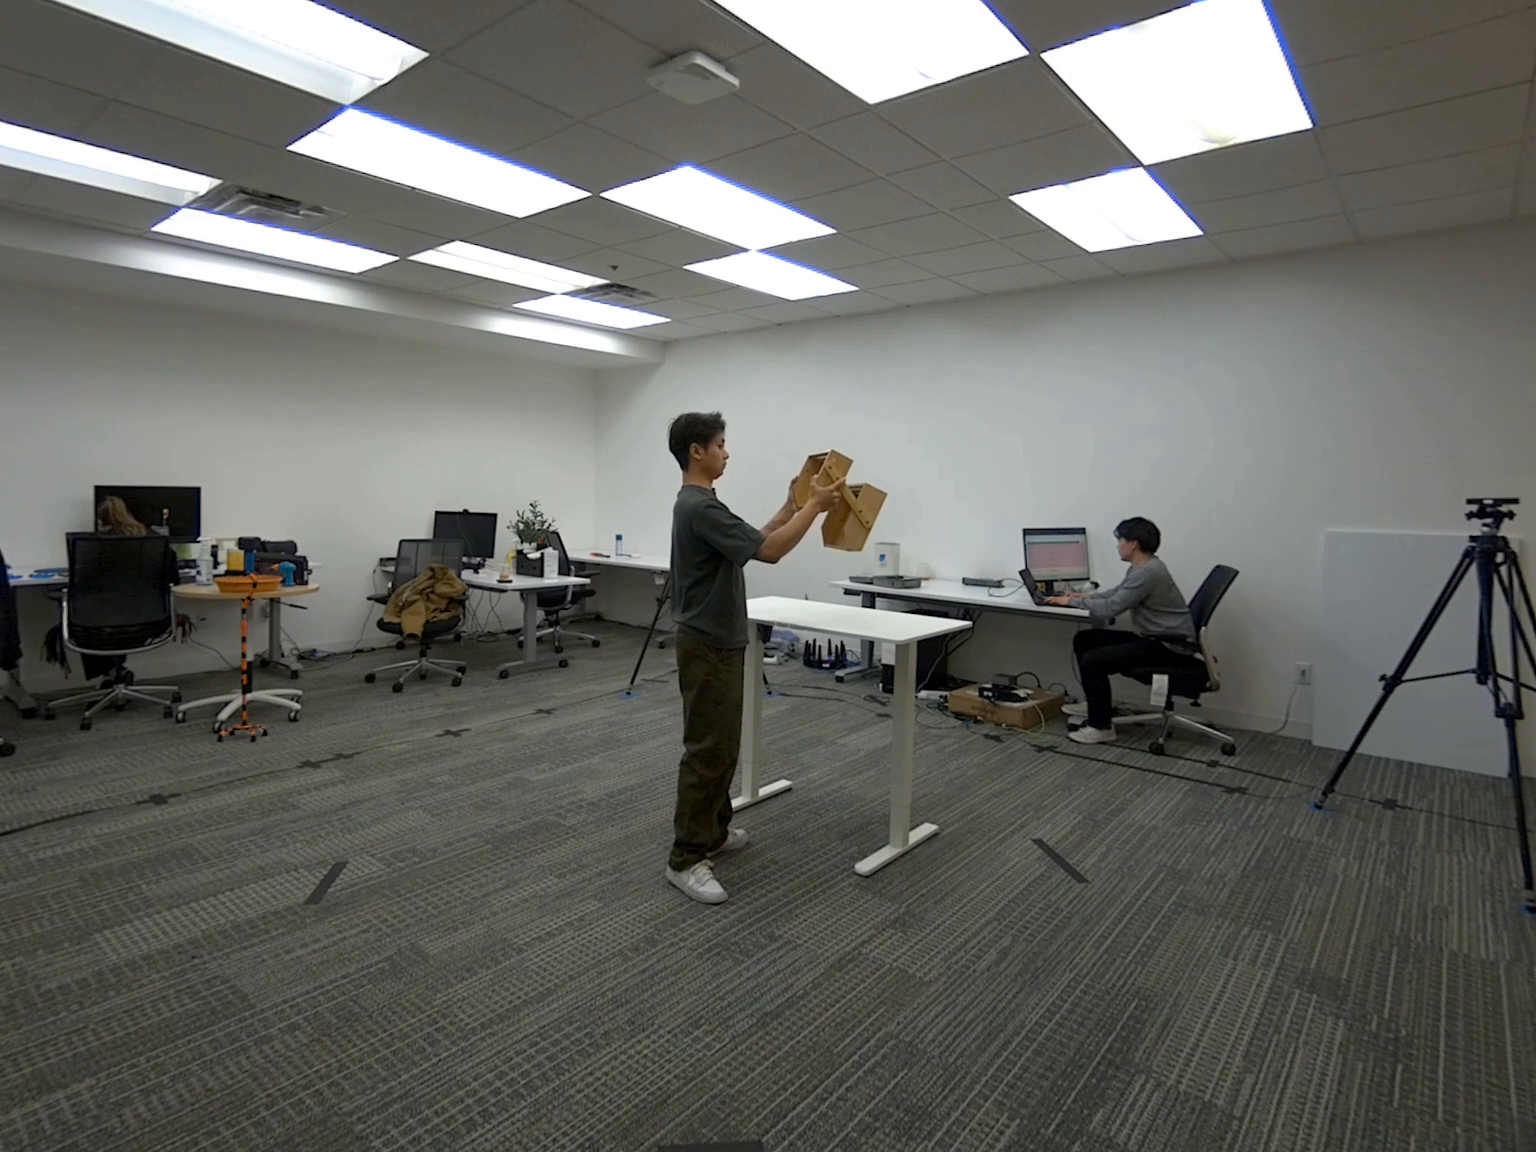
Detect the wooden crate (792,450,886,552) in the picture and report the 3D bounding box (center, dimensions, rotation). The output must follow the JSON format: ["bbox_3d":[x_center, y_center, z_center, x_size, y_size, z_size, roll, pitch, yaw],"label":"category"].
[{"bbox_3d":[0.226,-0.272,3.179,0.269,0.302,0.329,26,0,-12],"label":"wooden crate"}]
